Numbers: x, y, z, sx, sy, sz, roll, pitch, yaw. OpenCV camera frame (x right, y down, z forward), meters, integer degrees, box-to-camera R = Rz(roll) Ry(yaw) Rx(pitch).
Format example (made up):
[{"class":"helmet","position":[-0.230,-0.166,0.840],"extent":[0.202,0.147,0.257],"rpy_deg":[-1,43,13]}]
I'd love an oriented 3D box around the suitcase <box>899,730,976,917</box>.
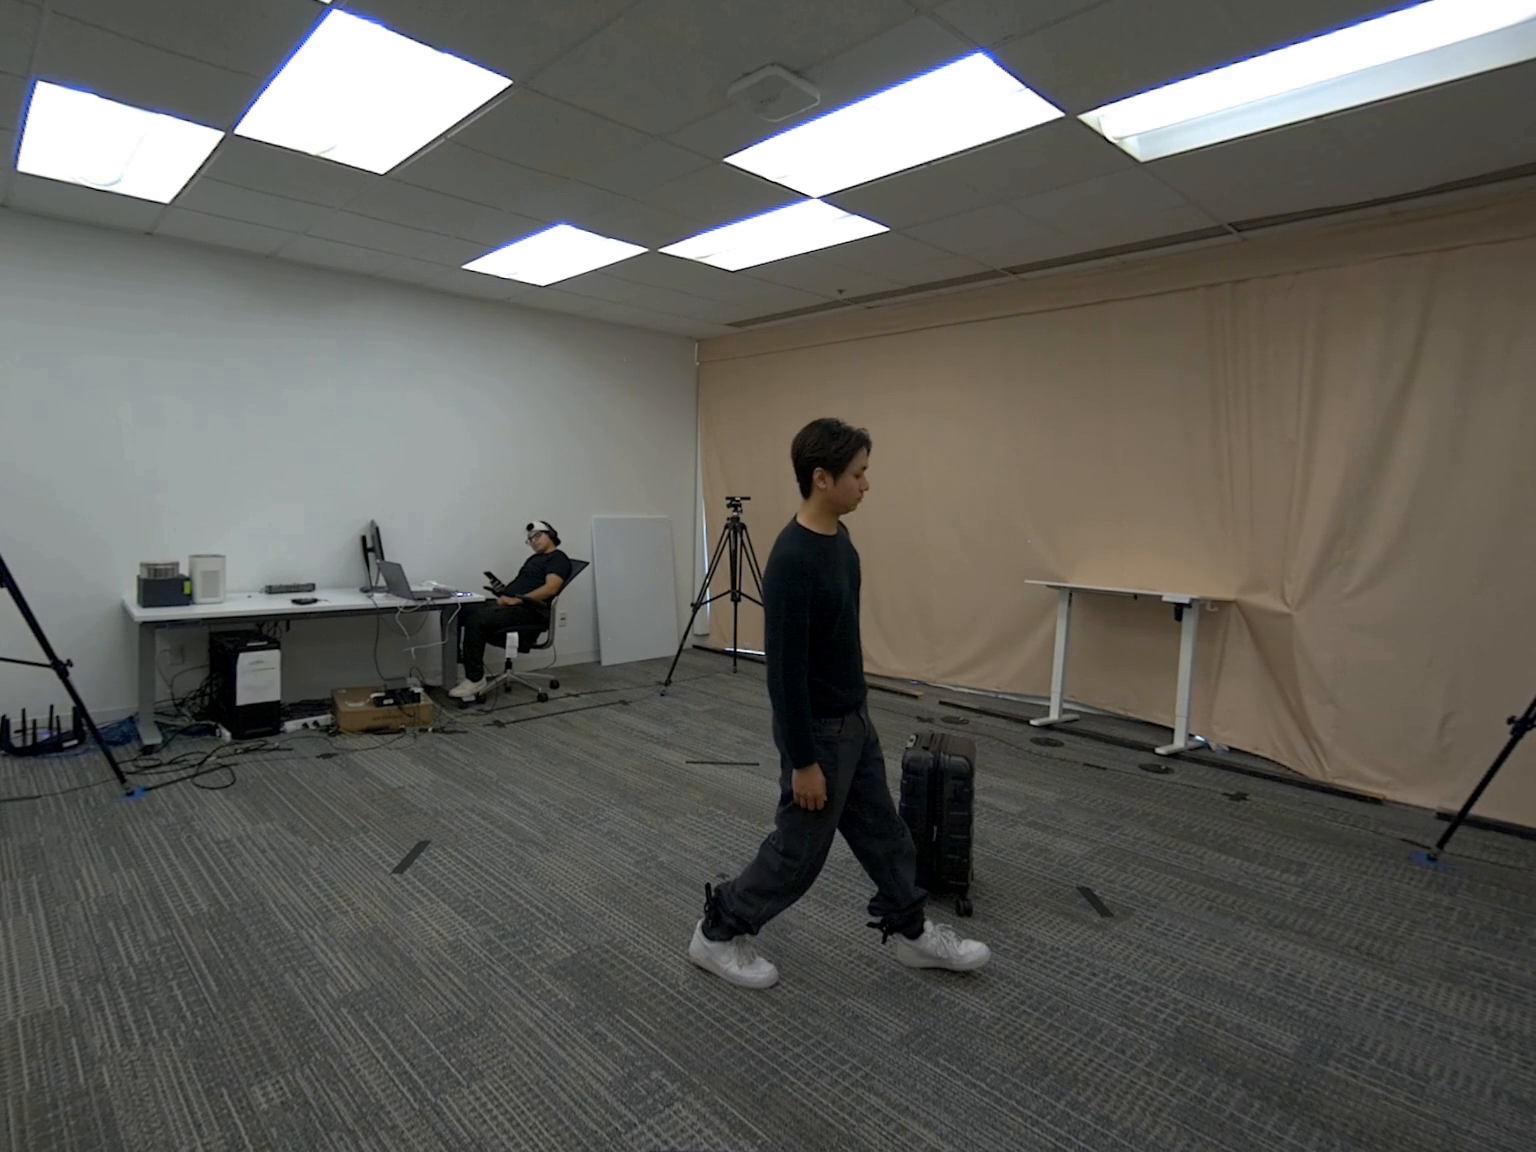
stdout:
[{"class":"suitcase","position":[0.606,0.855,3.028],"extent":[0.252,0.549,0.370],"rpy_deg":[2,2,17]}]
